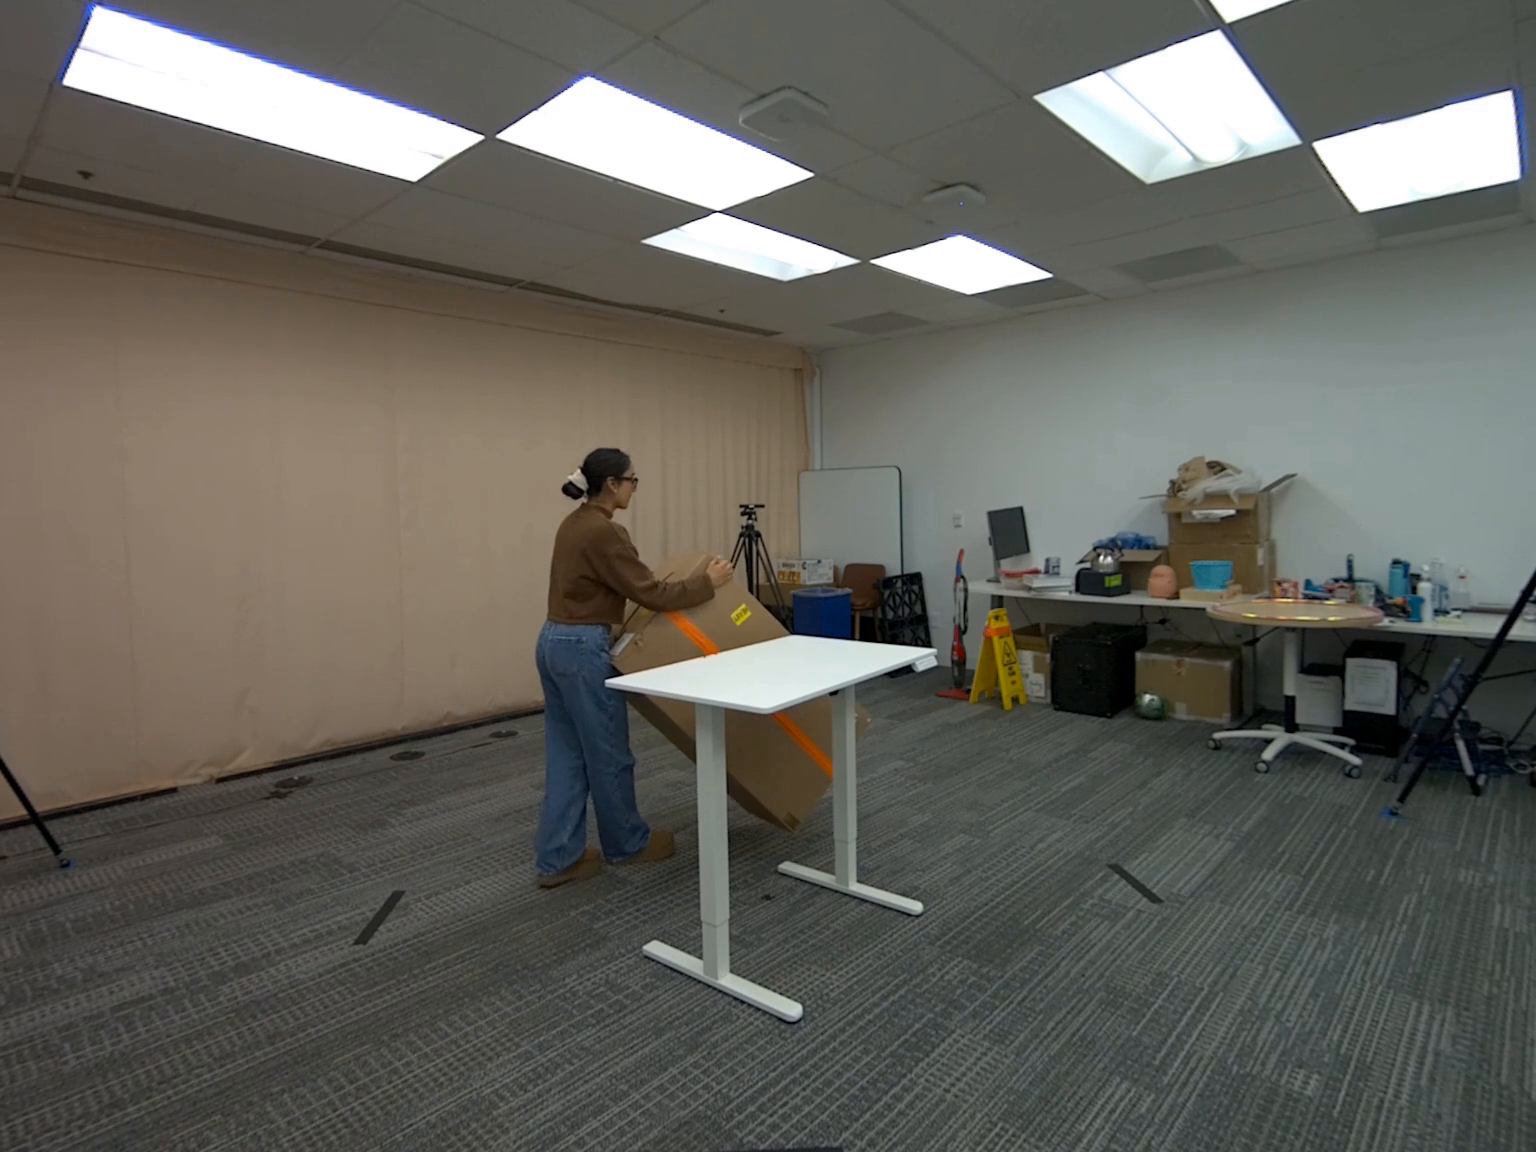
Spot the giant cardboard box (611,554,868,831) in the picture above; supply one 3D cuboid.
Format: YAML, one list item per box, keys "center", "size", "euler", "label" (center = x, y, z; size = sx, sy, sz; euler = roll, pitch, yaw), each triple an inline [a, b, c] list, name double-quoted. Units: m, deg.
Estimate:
- center: [-0.153, 0.471, 3.466]
  size: [0.575, 1.007, 0.436]
  euler: [-50, 17, -21]
  label: "giant cardboard box"
